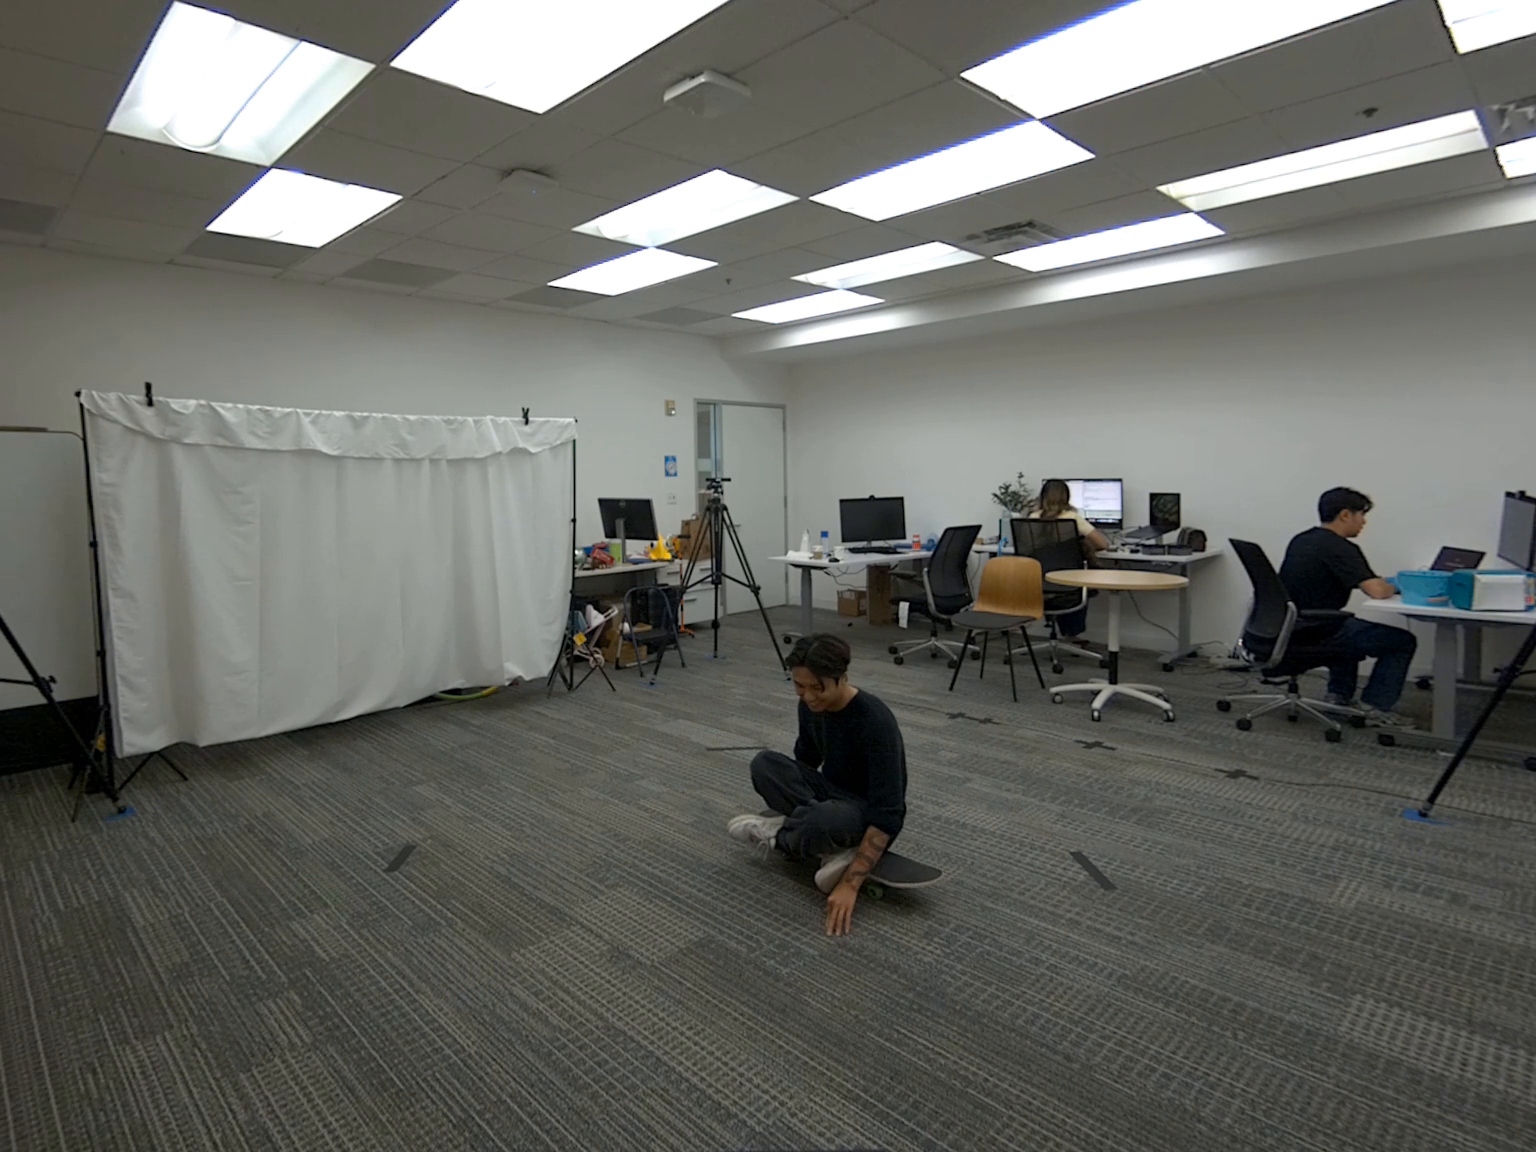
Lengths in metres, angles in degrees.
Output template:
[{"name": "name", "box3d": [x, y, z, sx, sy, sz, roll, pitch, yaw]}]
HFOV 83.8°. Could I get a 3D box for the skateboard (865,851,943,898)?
[{"name": "skateboard", "box3d": [0.254, 0.997, 3.022, 0.810, 0.110, 0.188, 6, 9, 44]}]
